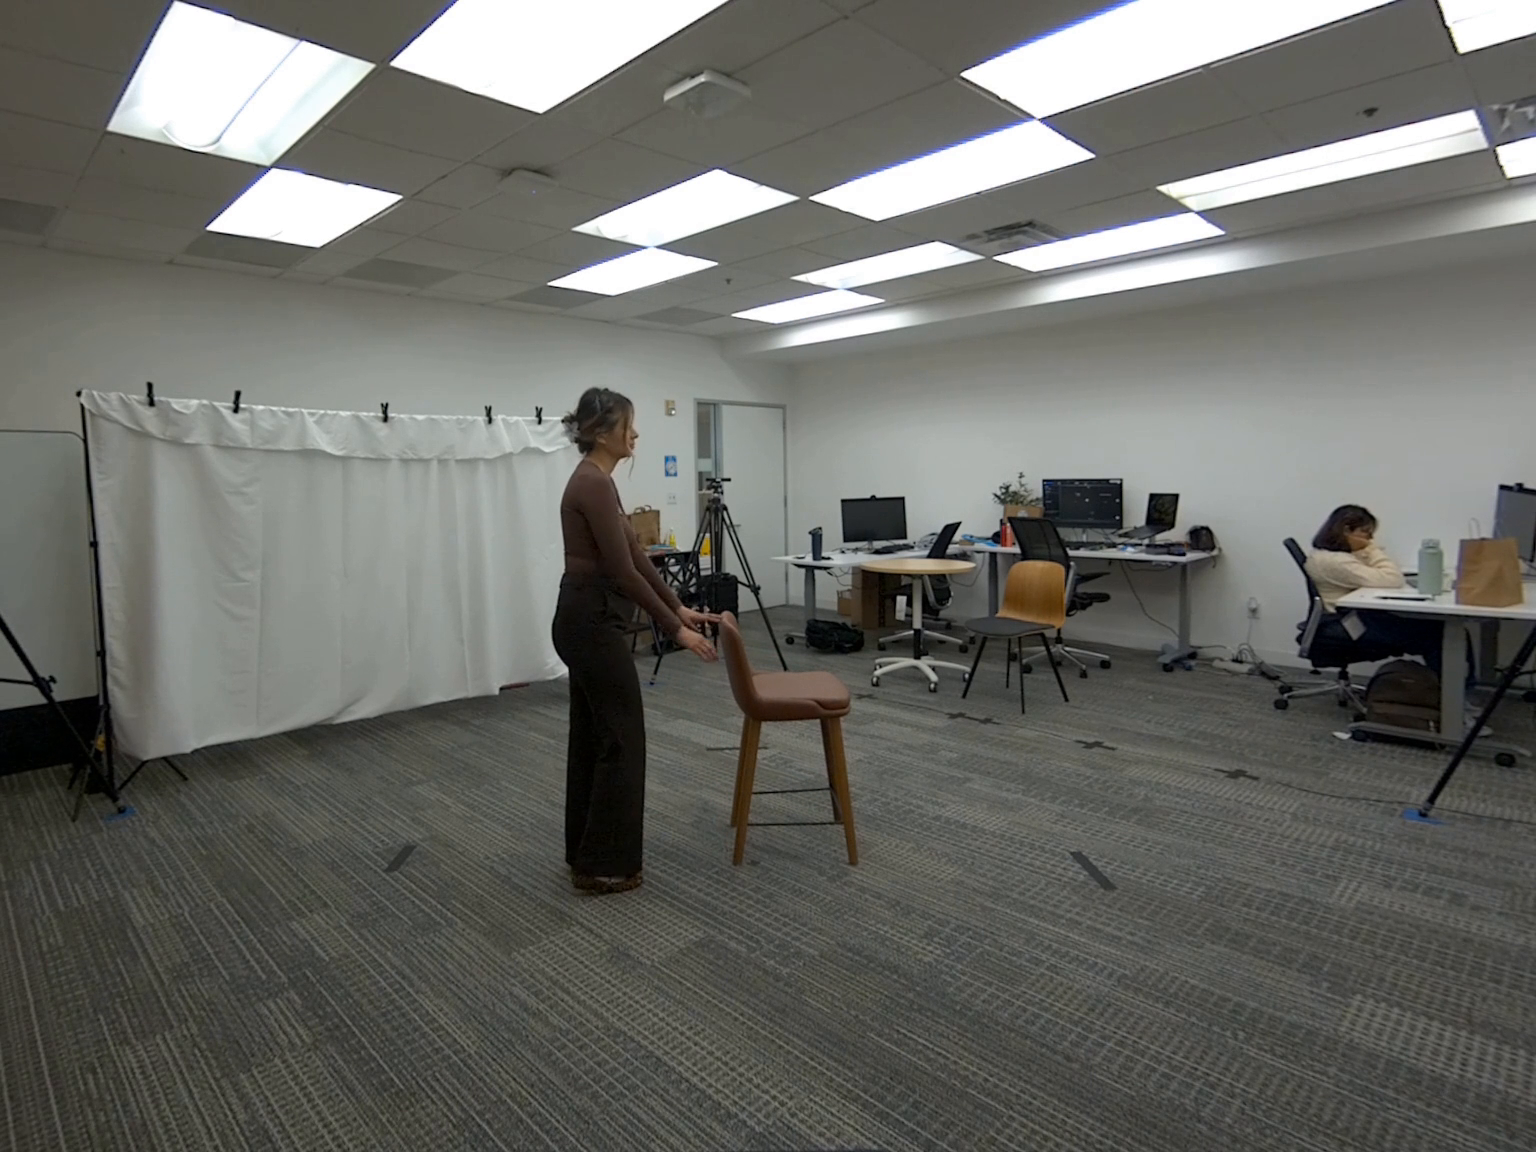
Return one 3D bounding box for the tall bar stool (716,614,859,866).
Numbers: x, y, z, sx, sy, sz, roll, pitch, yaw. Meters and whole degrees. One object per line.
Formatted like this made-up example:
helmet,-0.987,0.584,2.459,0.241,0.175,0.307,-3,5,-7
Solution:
tall bar stool,0.069,0.588,3.246,0.467,0.887,0.458,-3,4,-1
